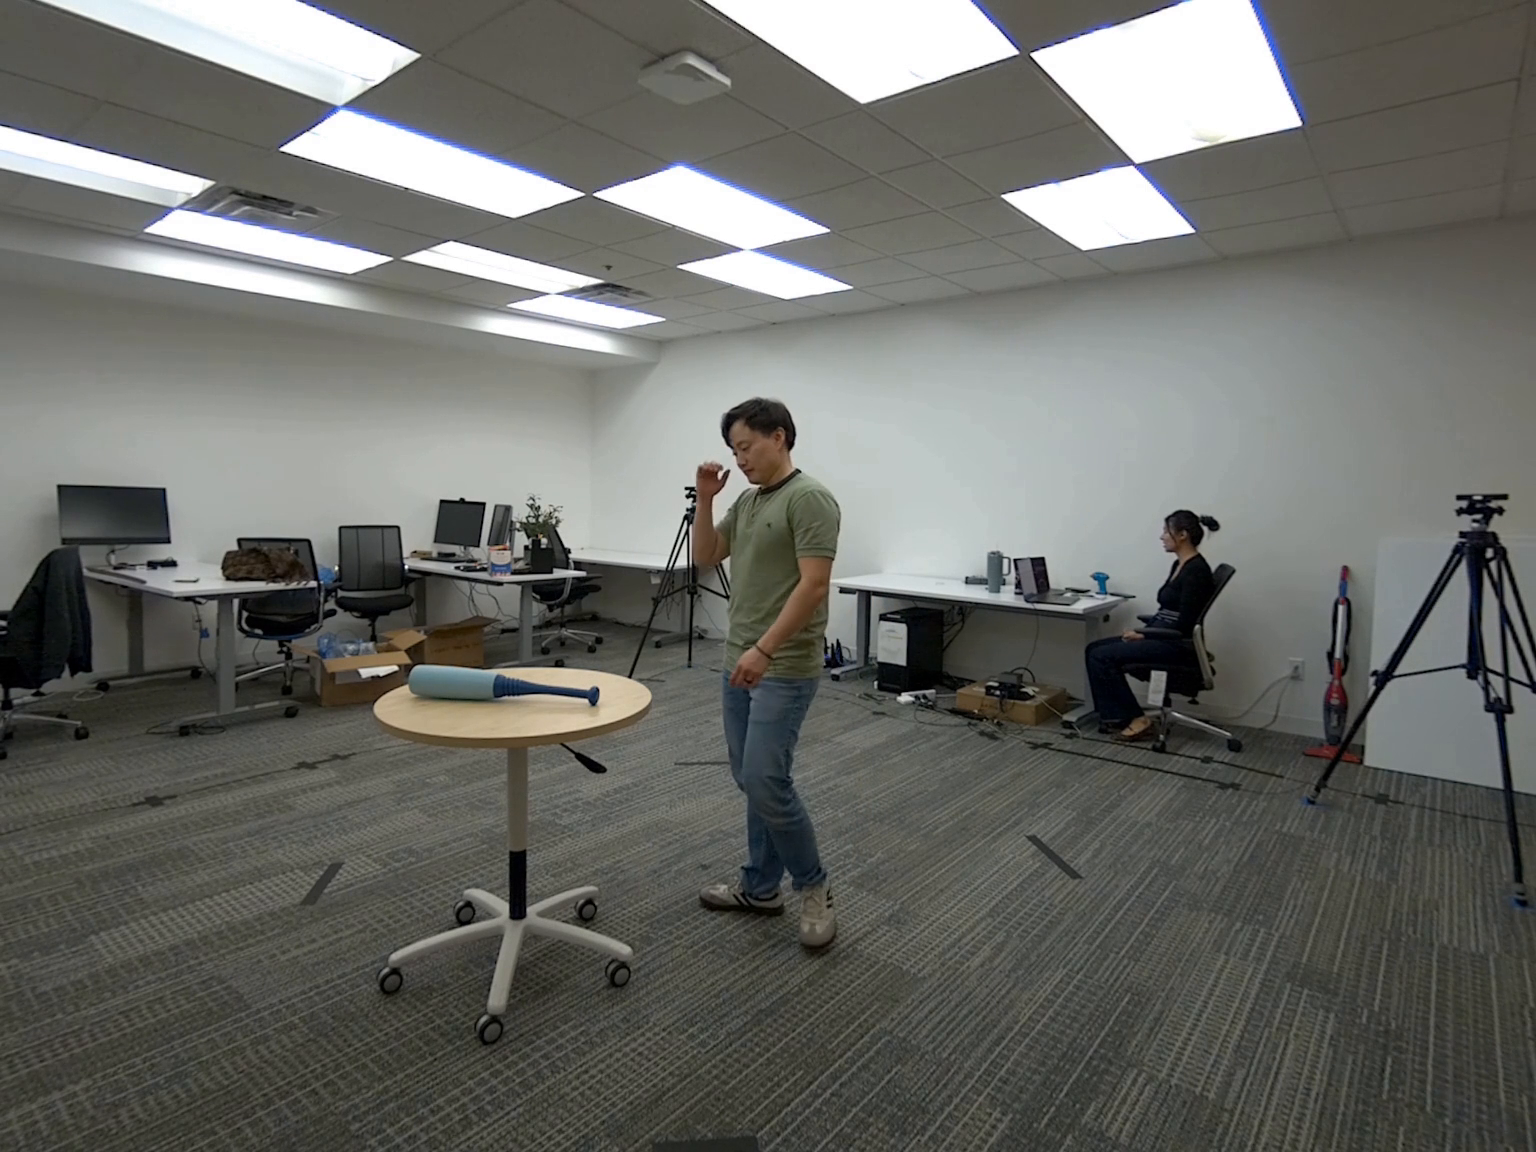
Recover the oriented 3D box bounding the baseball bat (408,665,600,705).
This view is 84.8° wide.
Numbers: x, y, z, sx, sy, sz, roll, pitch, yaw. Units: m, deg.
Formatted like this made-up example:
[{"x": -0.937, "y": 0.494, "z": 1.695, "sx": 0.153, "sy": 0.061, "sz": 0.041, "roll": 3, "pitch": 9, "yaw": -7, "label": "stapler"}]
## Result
[{"x": -0.751, "y": 0.314, "z": 2.388, "sx": 0.547, "sy": 0.089, "sz": 0.089, "roll": 4, "pitch": 4, "yaw": 6, "label": "baseball bat"}]
